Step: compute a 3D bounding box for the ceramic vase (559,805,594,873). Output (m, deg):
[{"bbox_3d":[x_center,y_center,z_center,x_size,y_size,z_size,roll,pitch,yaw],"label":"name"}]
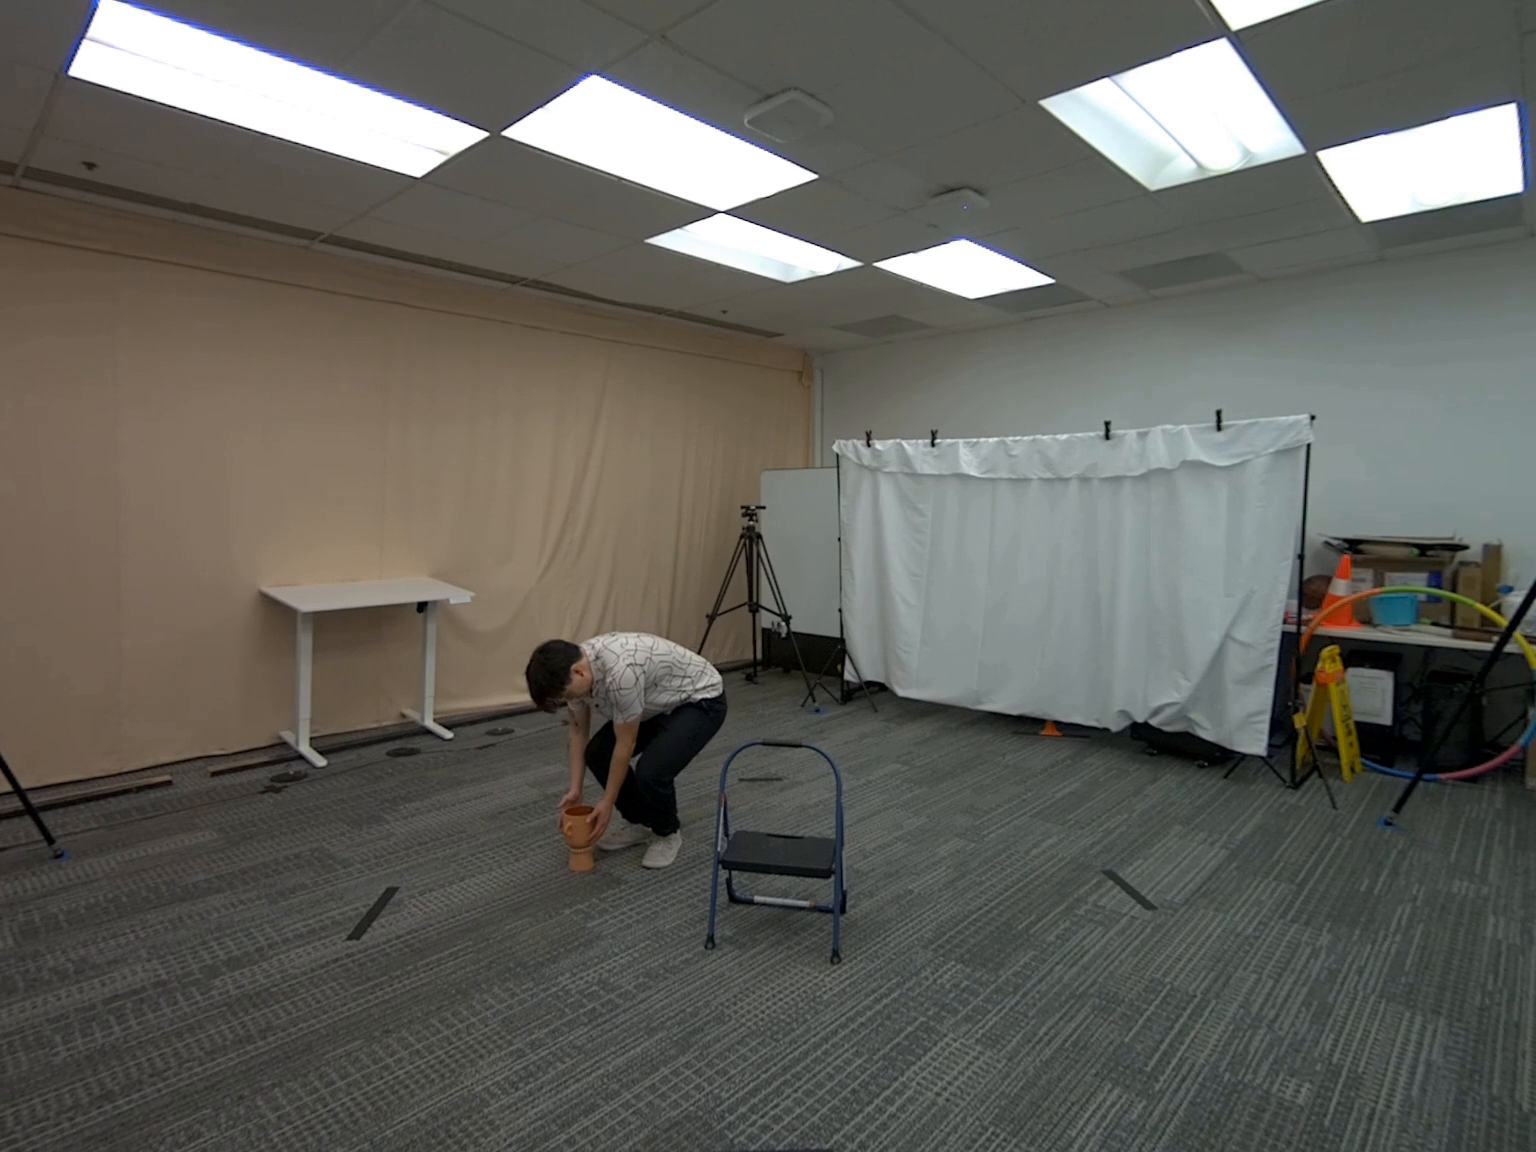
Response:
[{"bbox_3d":[-0.725,1.015,3.259,0.154,0.219,0.138,-2,3,-31],"label":"ceramic vase"}]
